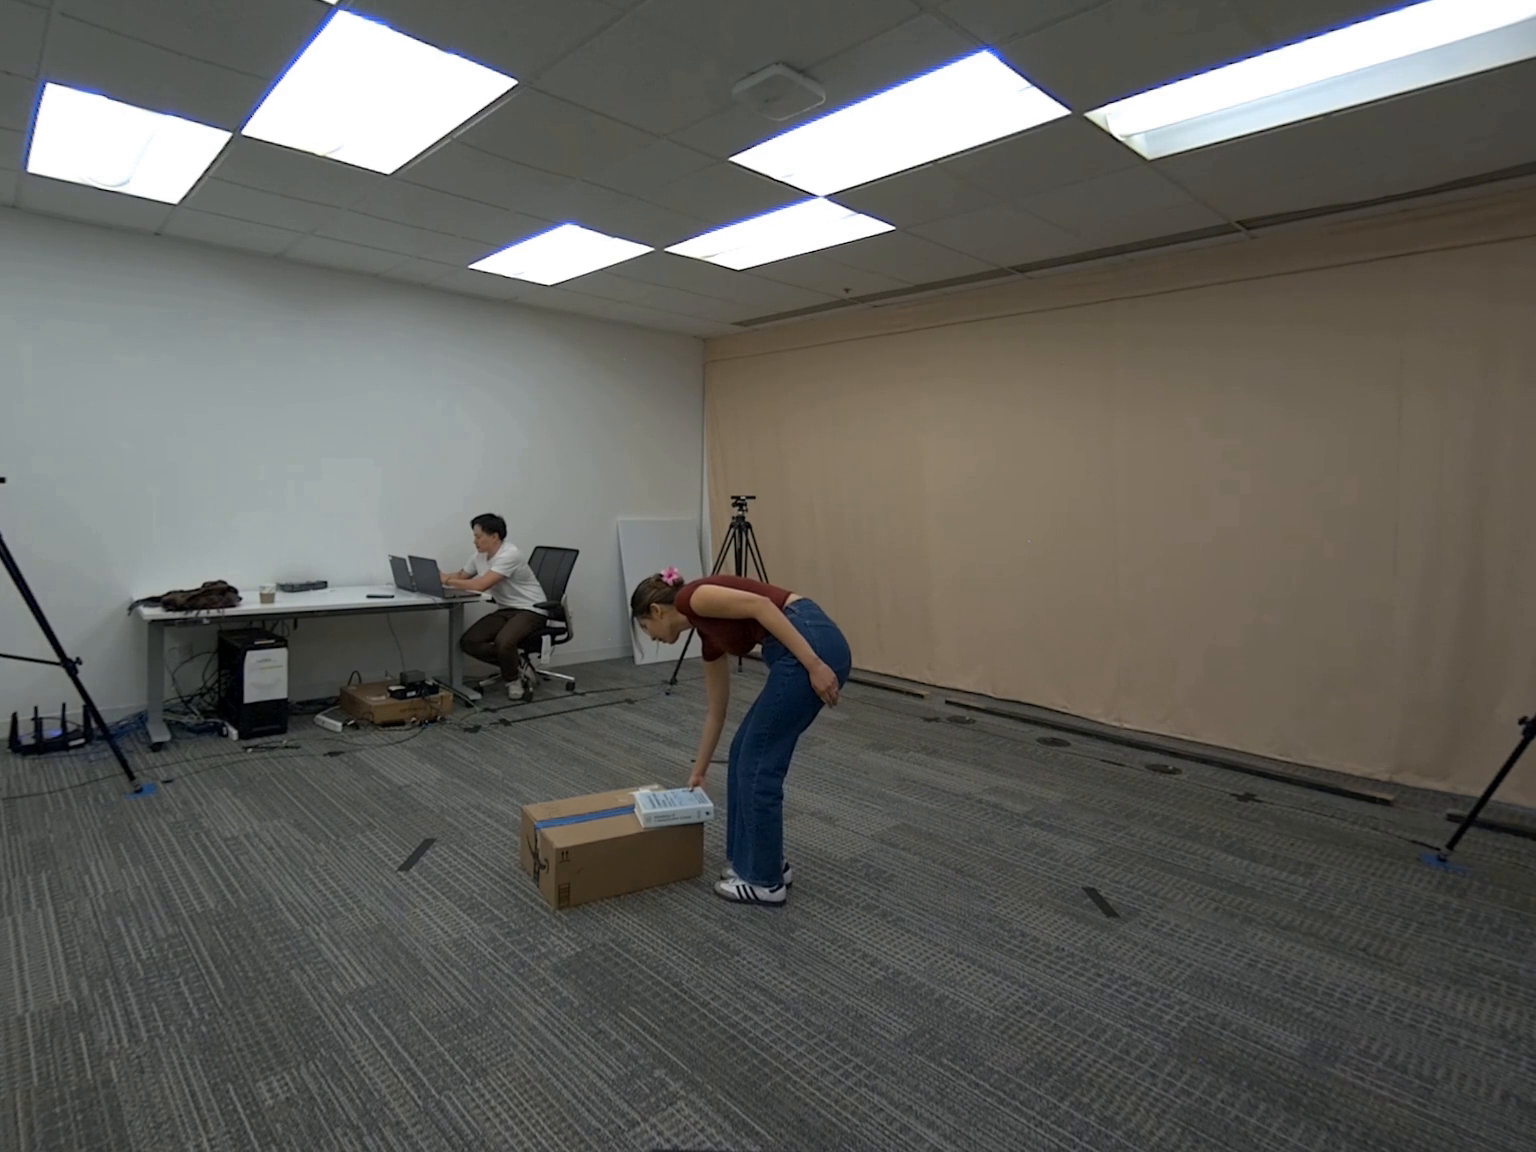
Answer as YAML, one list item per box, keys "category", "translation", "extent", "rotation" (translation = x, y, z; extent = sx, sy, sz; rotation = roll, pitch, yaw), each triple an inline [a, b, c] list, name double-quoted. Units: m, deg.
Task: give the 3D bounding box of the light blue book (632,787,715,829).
- category: "light blue book"
  translation: [-0.354, 0.843, 3.094]
  extent: [0.257, 0.059, 0.195]
  rotation: [-2, 6, -18]
